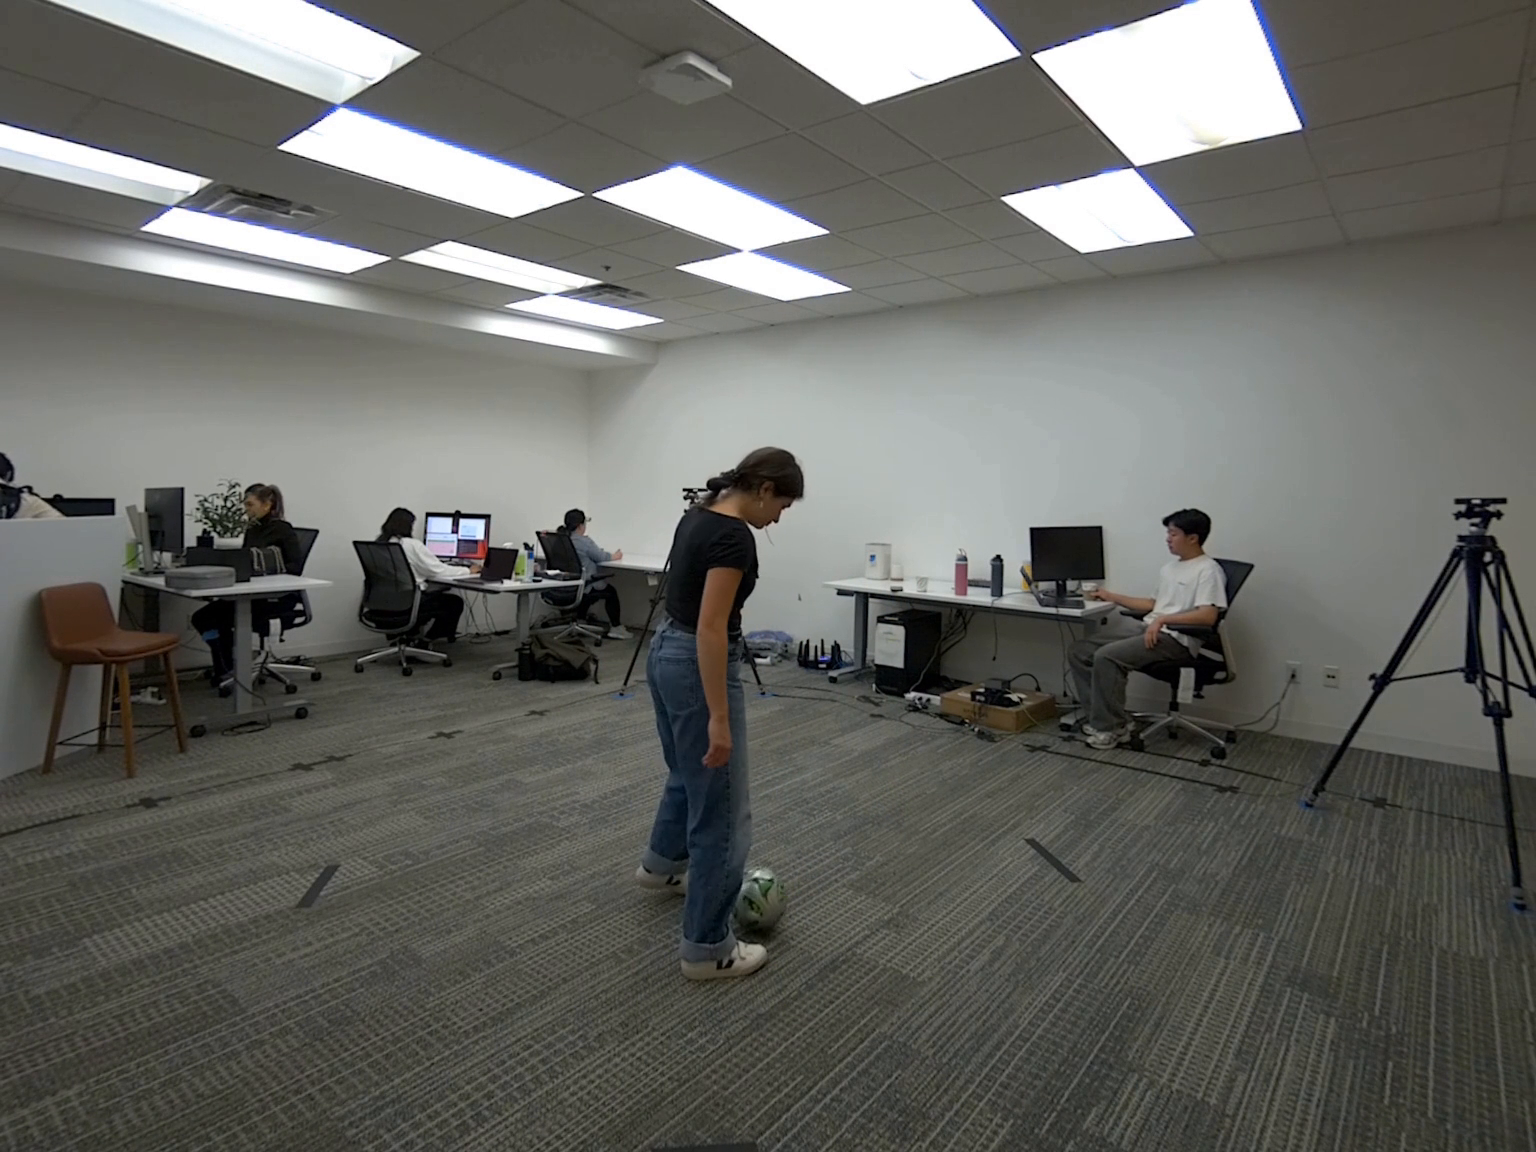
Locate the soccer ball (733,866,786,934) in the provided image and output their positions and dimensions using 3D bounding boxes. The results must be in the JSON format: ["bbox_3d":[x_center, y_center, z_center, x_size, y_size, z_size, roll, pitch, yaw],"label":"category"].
[{"bbox_3d":[-0.031,1.016,2.694,0.187,0.187,0.188,1,4,-2],"label":"soccer ball"}]
